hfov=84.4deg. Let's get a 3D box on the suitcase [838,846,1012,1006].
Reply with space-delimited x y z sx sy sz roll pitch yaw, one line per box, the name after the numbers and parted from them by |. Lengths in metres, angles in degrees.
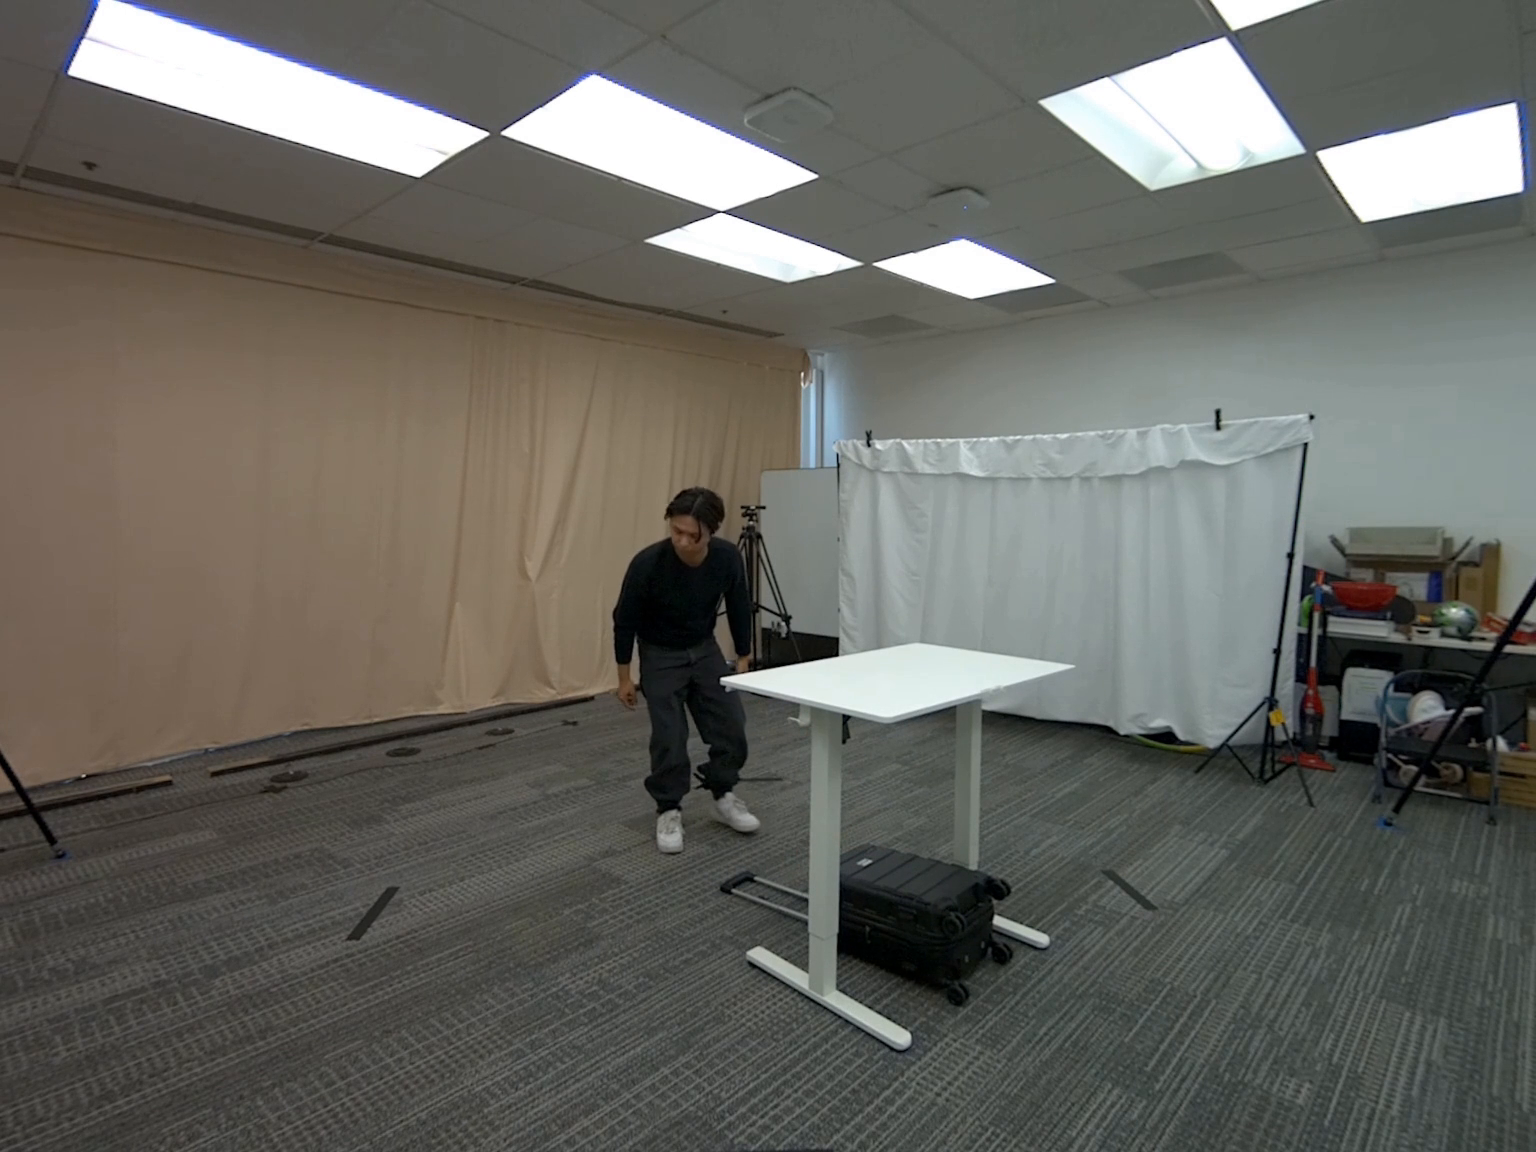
0.269 1.035 2.767 1.011 0.256 0.372 4 6 41 | suitcase
